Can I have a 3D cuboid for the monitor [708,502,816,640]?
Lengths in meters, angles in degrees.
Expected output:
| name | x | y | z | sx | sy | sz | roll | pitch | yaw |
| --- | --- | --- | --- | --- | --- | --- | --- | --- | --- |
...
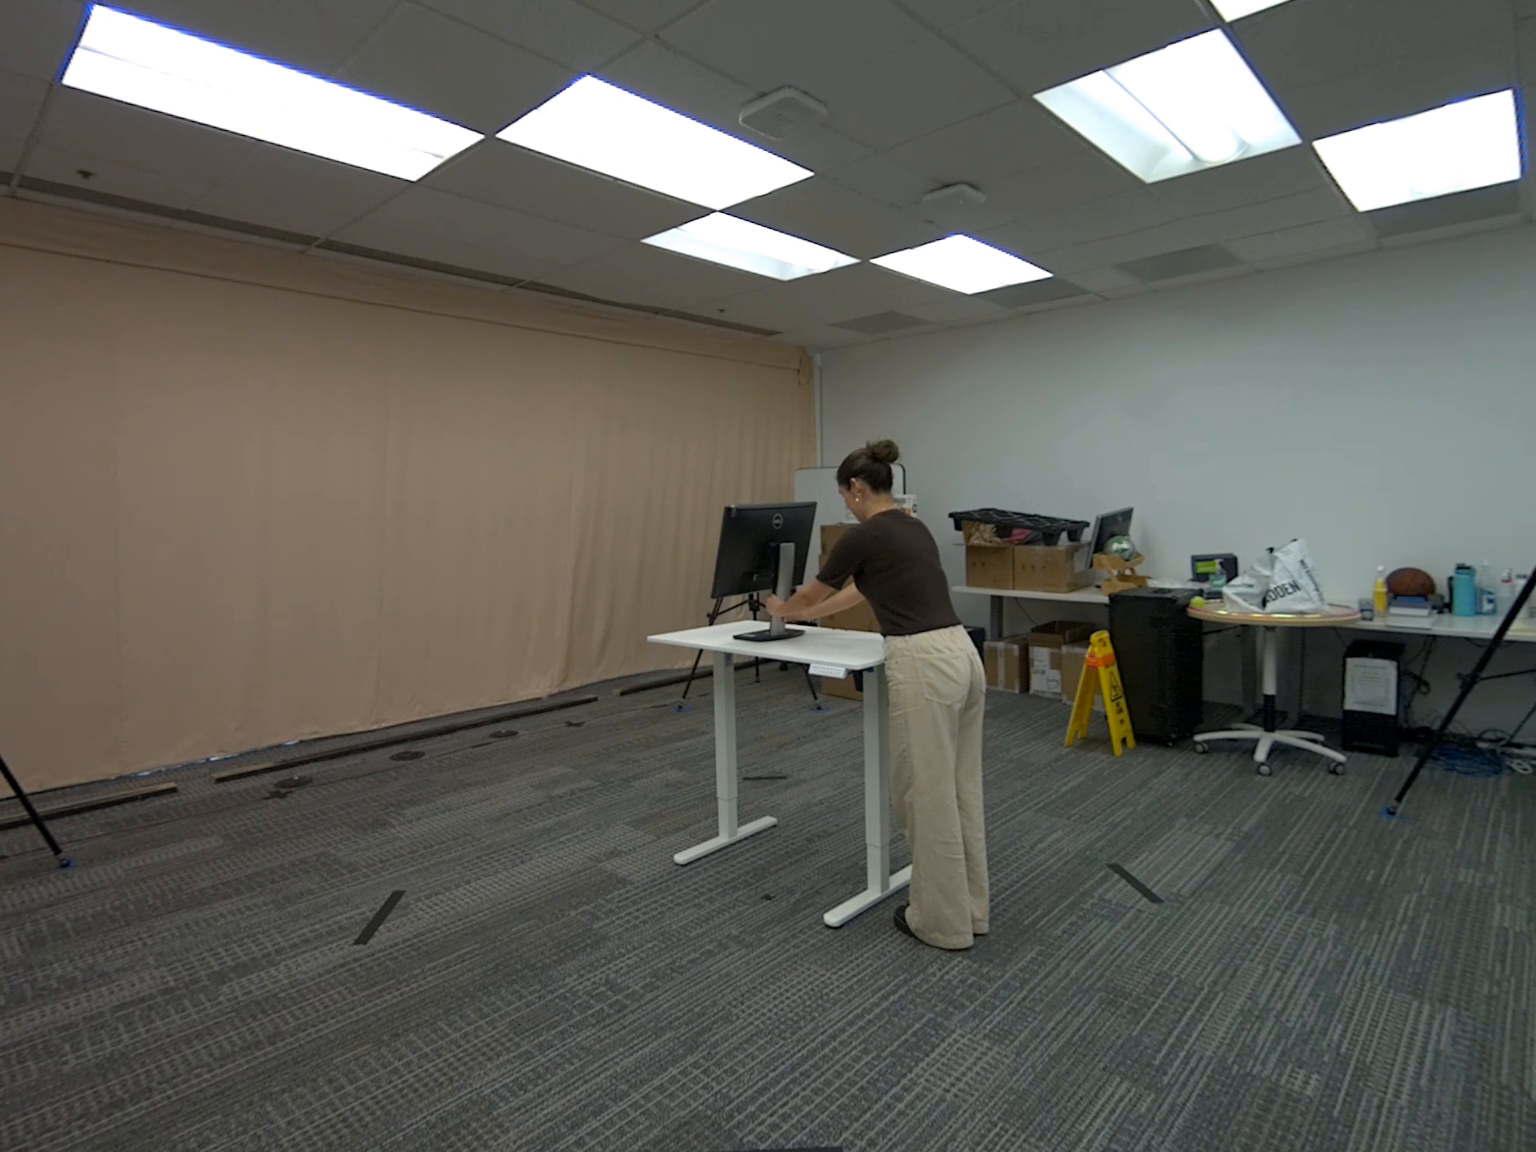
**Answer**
| name | x | y | z | sx | sy | sz | roll | pitch | yaw |
| --- | --- | --- | --- | --- | --- | --- | --- | --- | --- |
| monitor | 0.018 | -0.020 | 3.240 | 0.180 | 0.515 | 0.514 | -3 | 3 | 41 |
